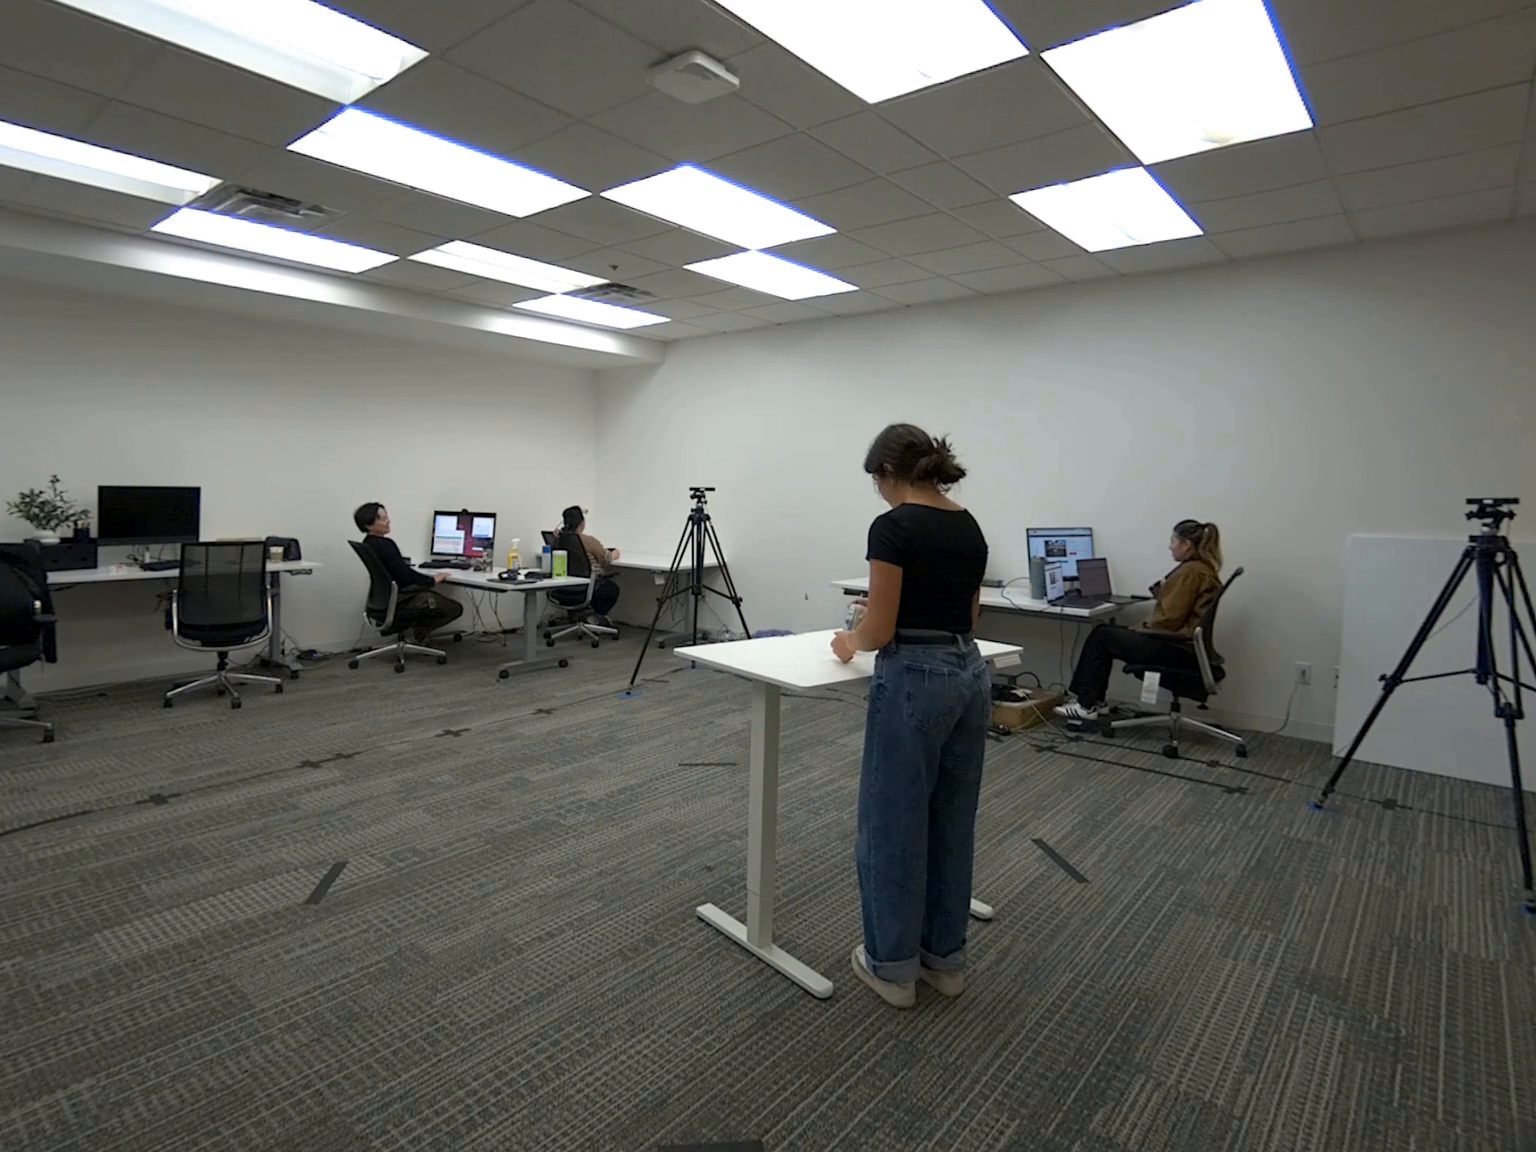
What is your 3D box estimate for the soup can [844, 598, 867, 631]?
[{"bbox_3d":[0.269,0.156,2.667,0.067,0.122,0.067,13,-5,-1],"label":"soup can"}]
